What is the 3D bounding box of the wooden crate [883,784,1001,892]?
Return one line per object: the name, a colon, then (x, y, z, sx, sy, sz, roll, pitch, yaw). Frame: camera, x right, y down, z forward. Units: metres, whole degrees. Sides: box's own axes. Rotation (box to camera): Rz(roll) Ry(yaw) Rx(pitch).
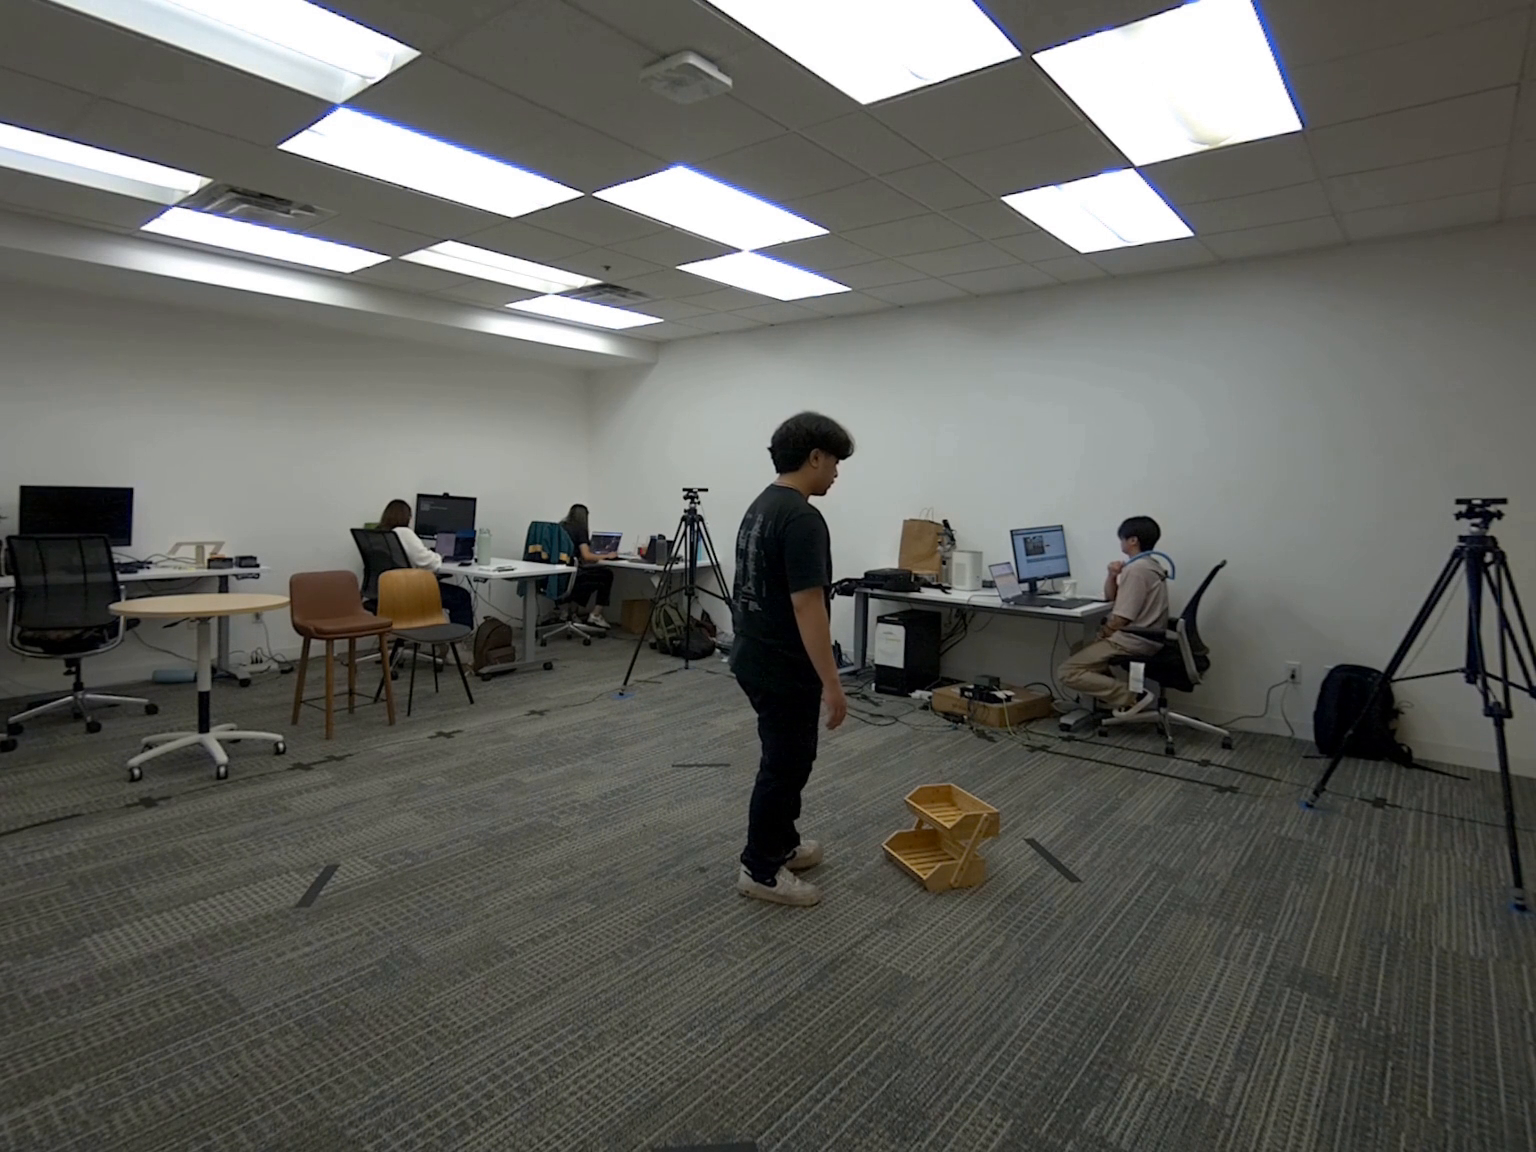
wooden crate: (0.622, 0.948, 3.155, 0.296, 0.272, 0.332, 1, 4, -21)
